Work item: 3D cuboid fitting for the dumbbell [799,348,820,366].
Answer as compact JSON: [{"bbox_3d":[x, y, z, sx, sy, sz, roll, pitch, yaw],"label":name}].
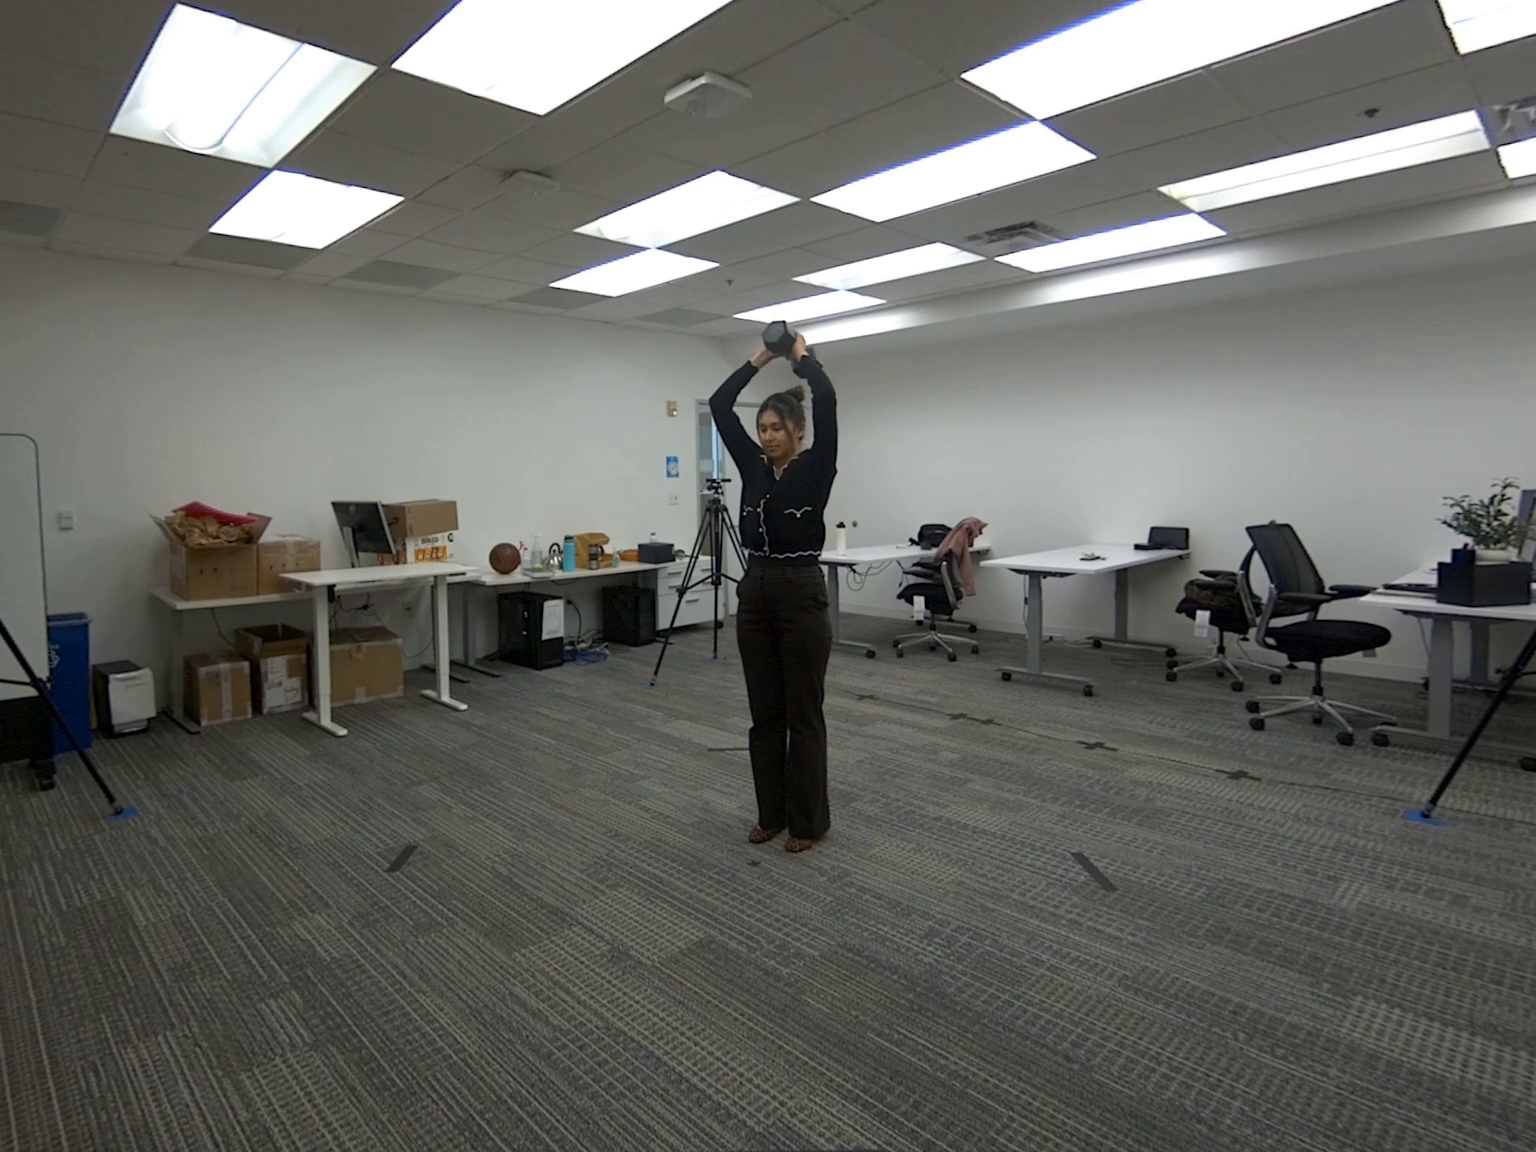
[{"bbox_3d":[0.101,-0.874,3.292,0.110,0.126,0.282,-25,-31,24],"label":"dumbbell"}]
